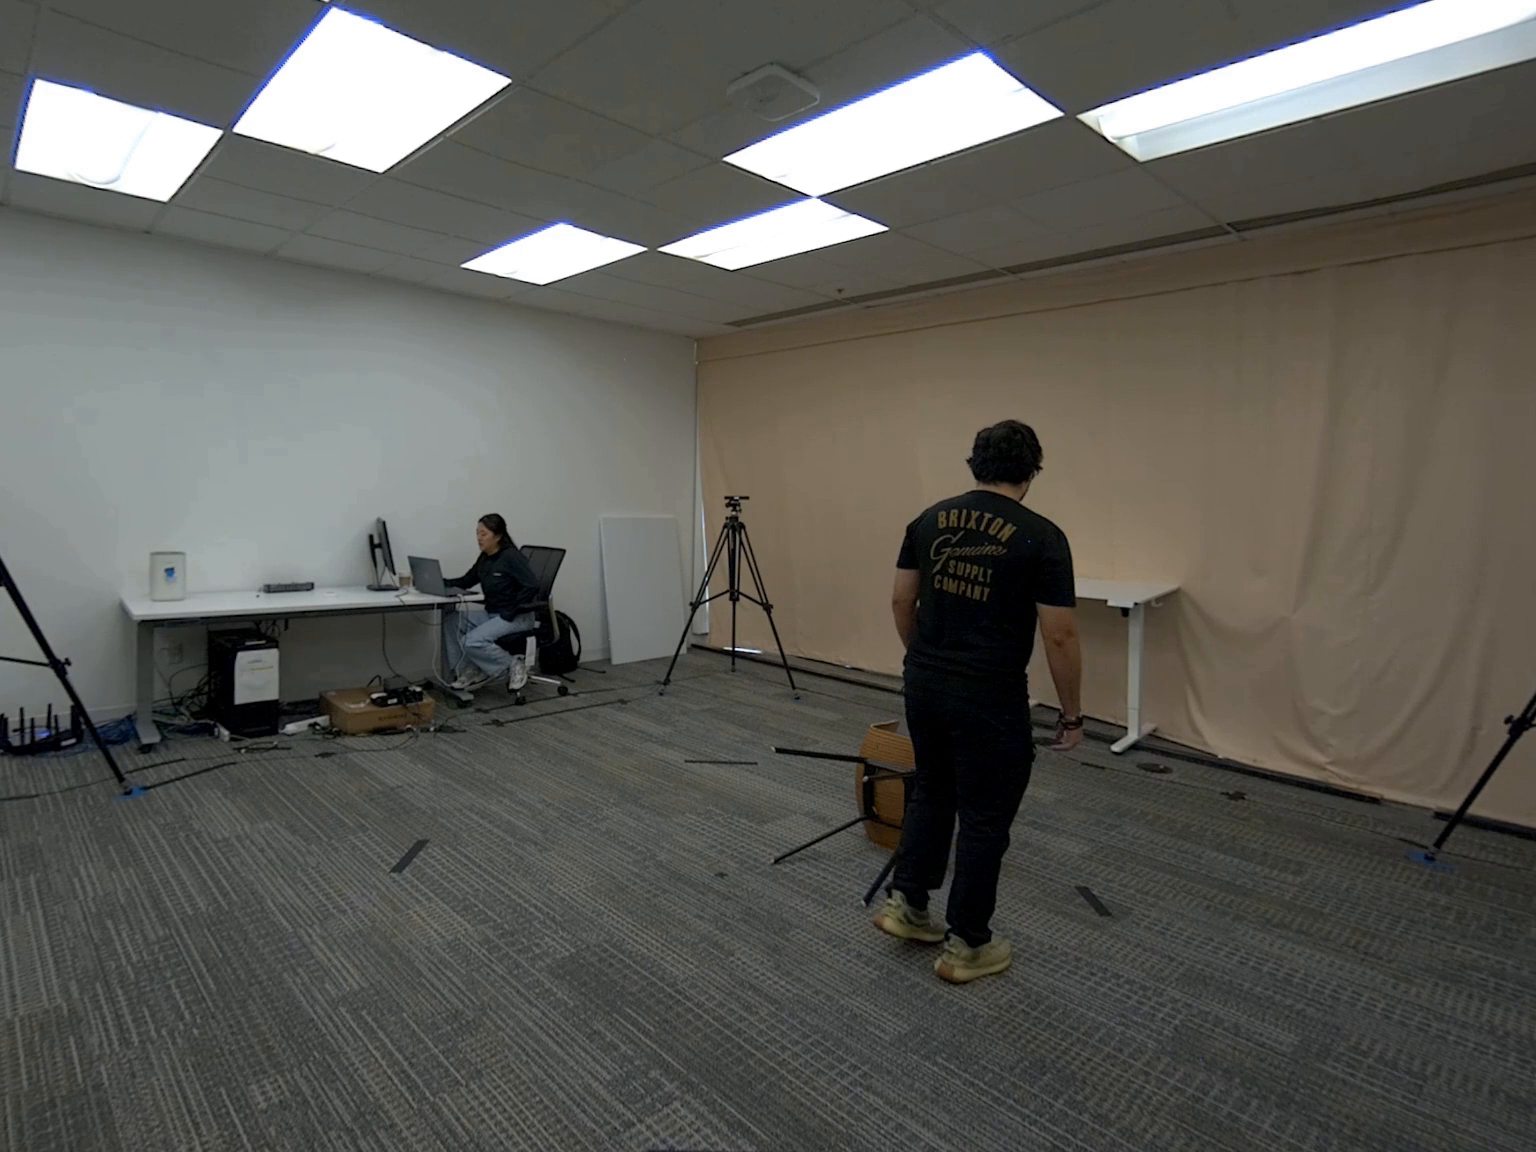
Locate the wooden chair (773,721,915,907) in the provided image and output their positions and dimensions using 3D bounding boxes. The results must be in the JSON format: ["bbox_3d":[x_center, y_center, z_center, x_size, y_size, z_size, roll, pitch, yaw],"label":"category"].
[{"bbox_3d":[0.472,0.870,3.317,0.536,0.477,0.858,5,6,41],"label":"wooden chair"}]
